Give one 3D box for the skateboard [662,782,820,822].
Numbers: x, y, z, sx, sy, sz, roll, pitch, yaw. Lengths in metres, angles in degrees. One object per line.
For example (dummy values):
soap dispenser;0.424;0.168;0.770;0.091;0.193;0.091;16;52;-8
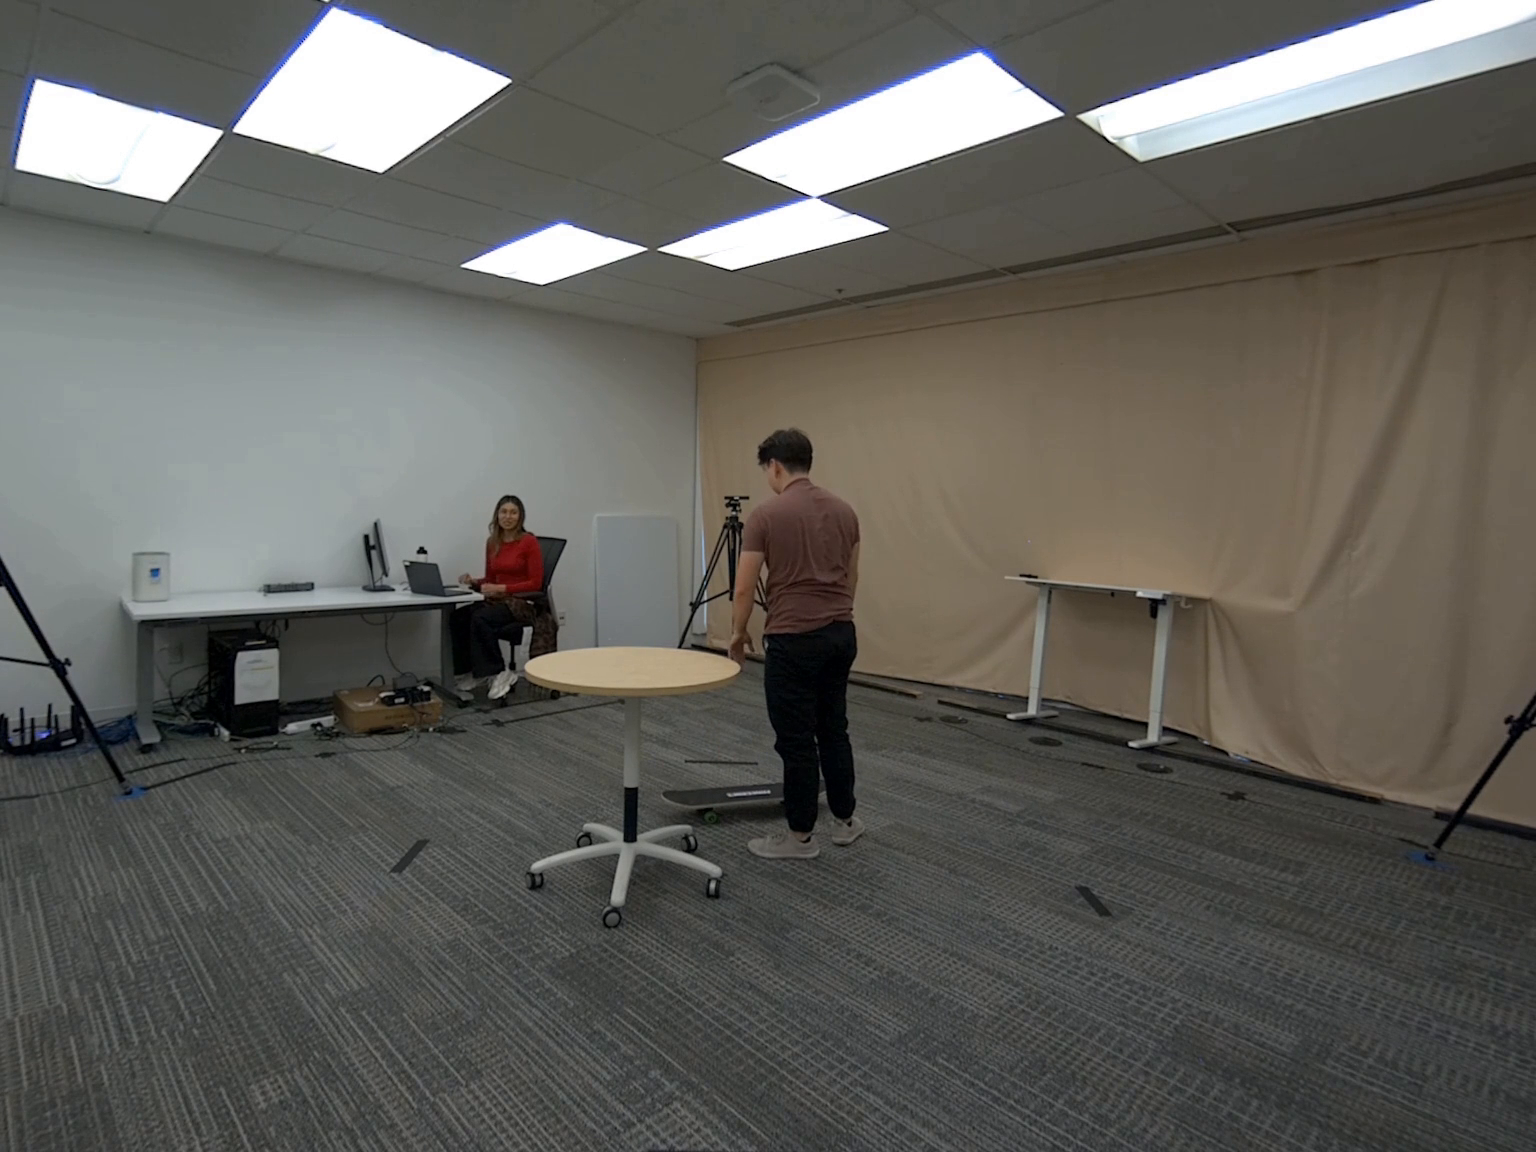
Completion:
skateboard;-0.092;0.992;3.730;0.775;0.110;0.196;0;5;-17
